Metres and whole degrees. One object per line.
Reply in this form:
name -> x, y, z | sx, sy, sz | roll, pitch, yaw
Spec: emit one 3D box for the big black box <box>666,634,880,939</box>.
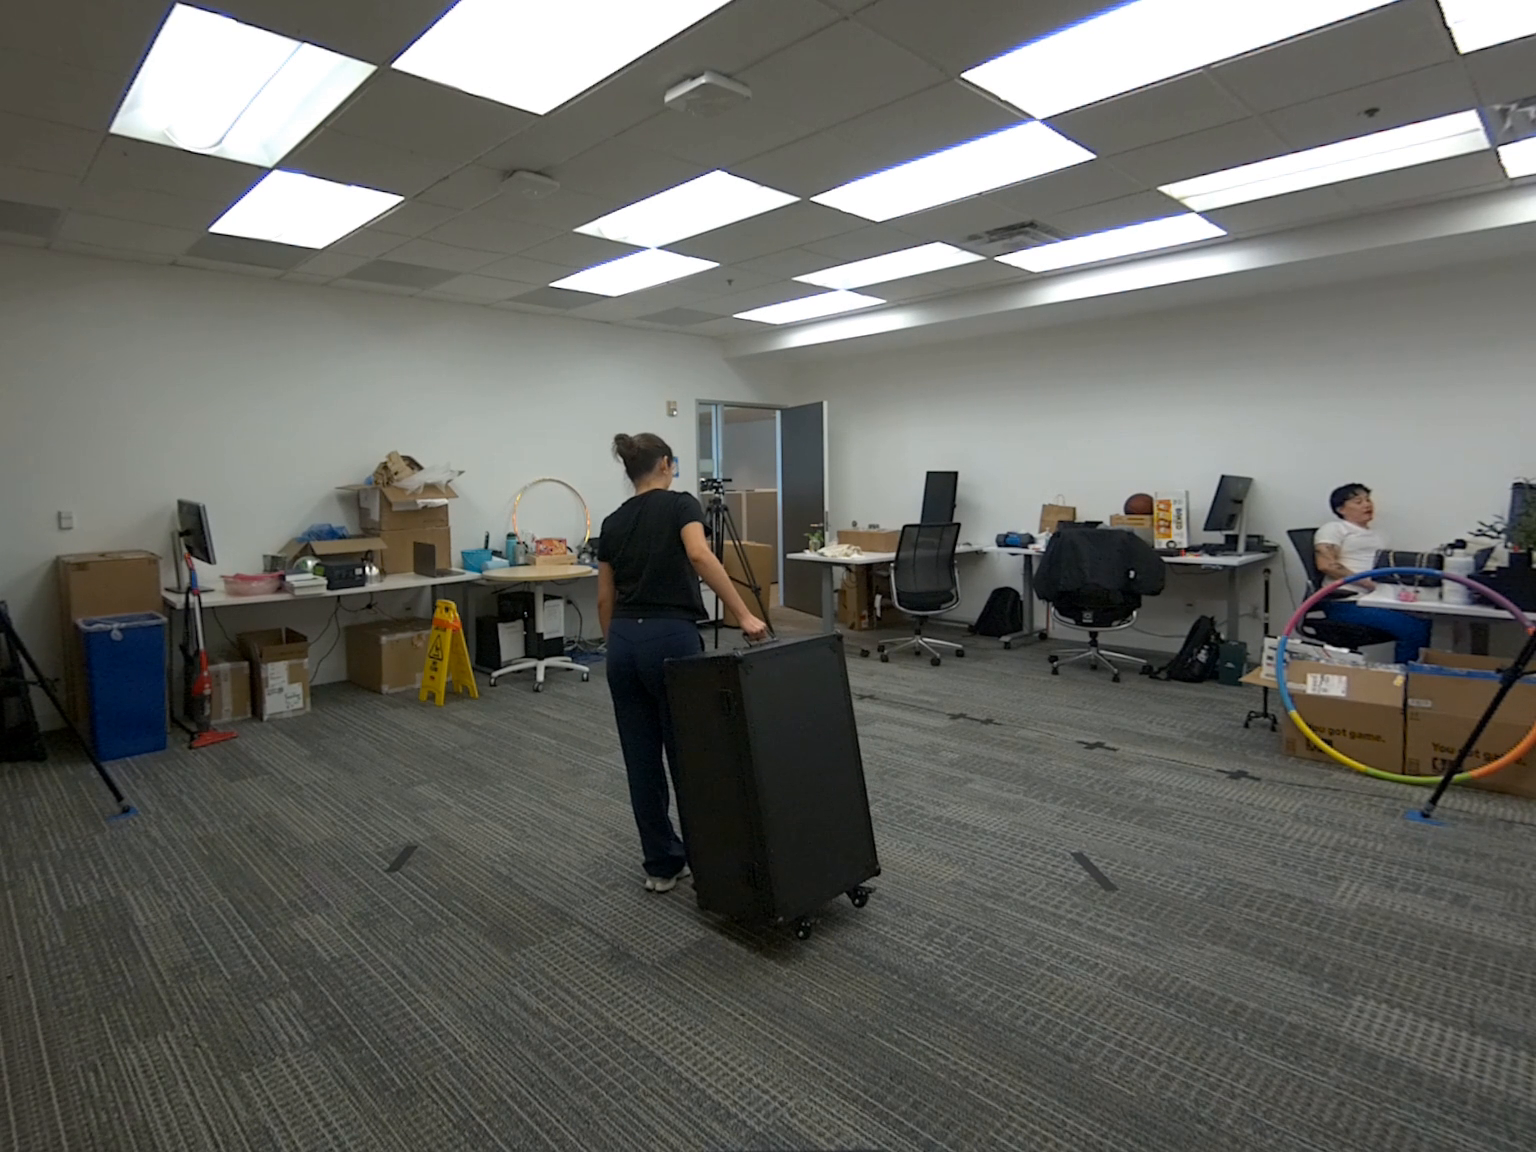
big black box -> 0.011, 0.647, 2.743 | 0.507, 0.866, 0.405 | -5, -6, -44
